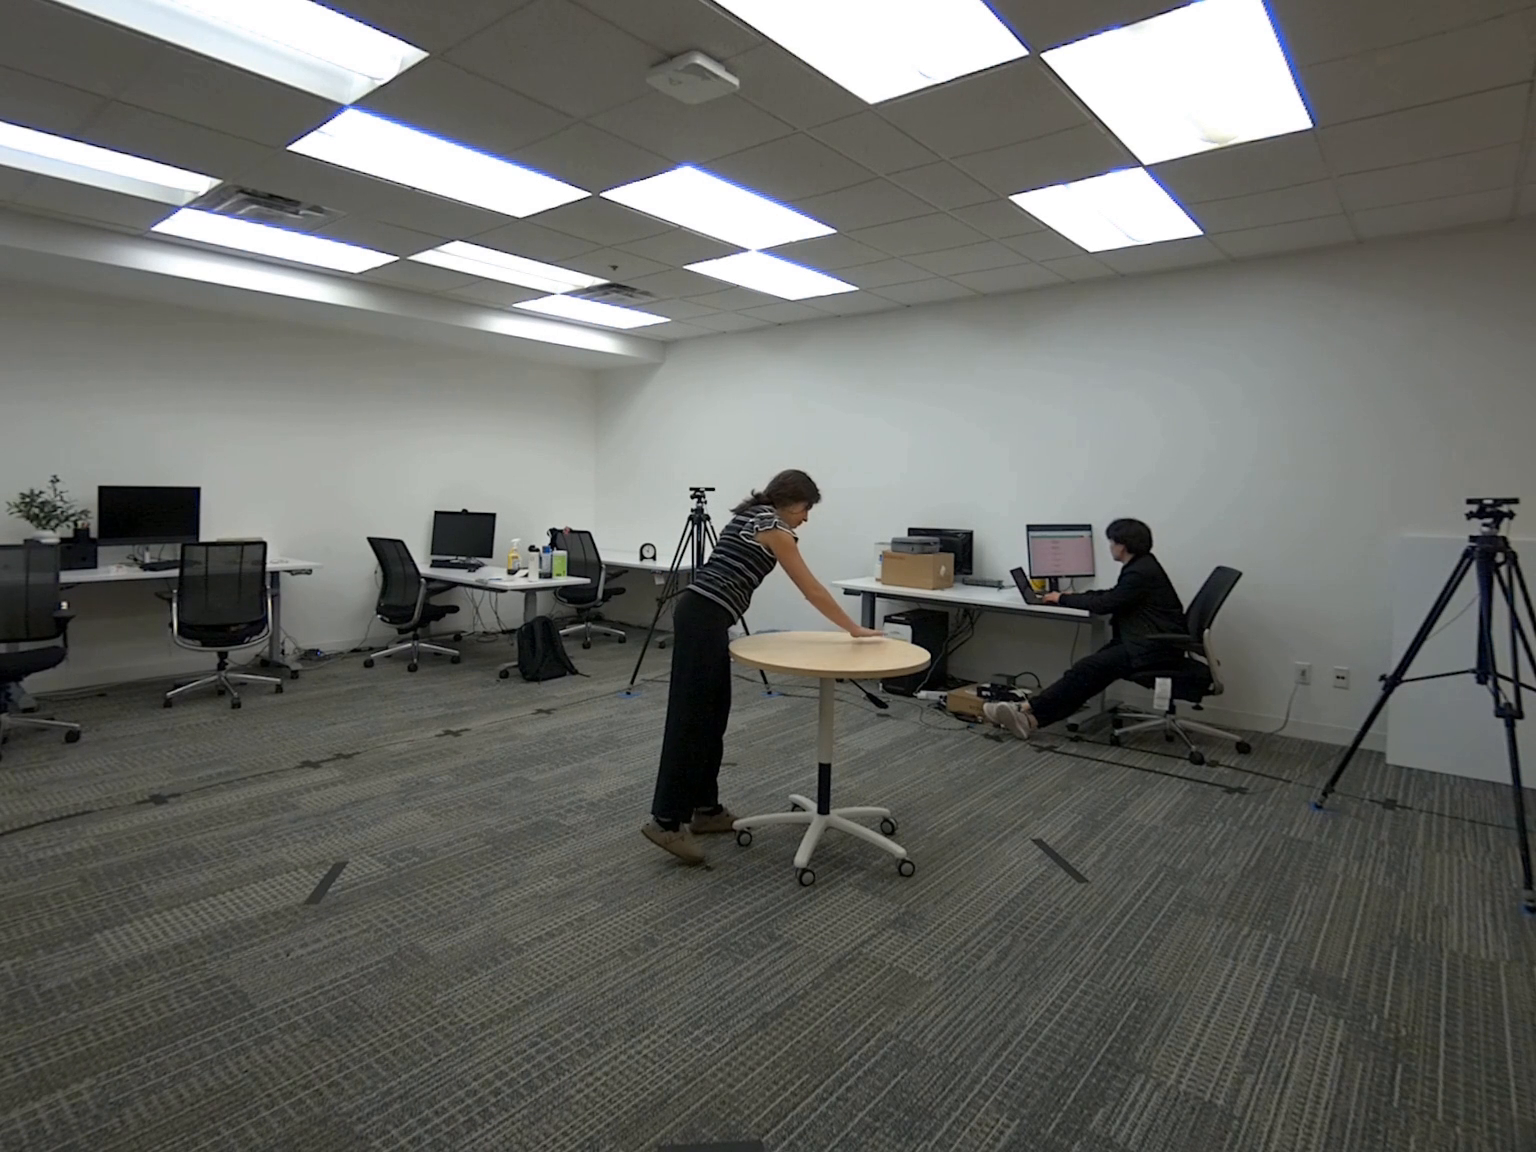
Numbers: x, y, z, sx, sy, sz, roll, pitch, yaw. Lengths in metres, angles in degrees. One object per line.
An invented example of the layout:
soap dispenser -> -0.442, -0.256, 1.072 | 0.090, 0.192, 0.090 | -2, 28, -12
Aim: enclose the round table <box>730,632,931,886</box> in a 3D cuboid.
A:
round table -> 0.225, 0.671, 3.290 | 0.763, 0.791, 0.768 | 1, 5, -2
